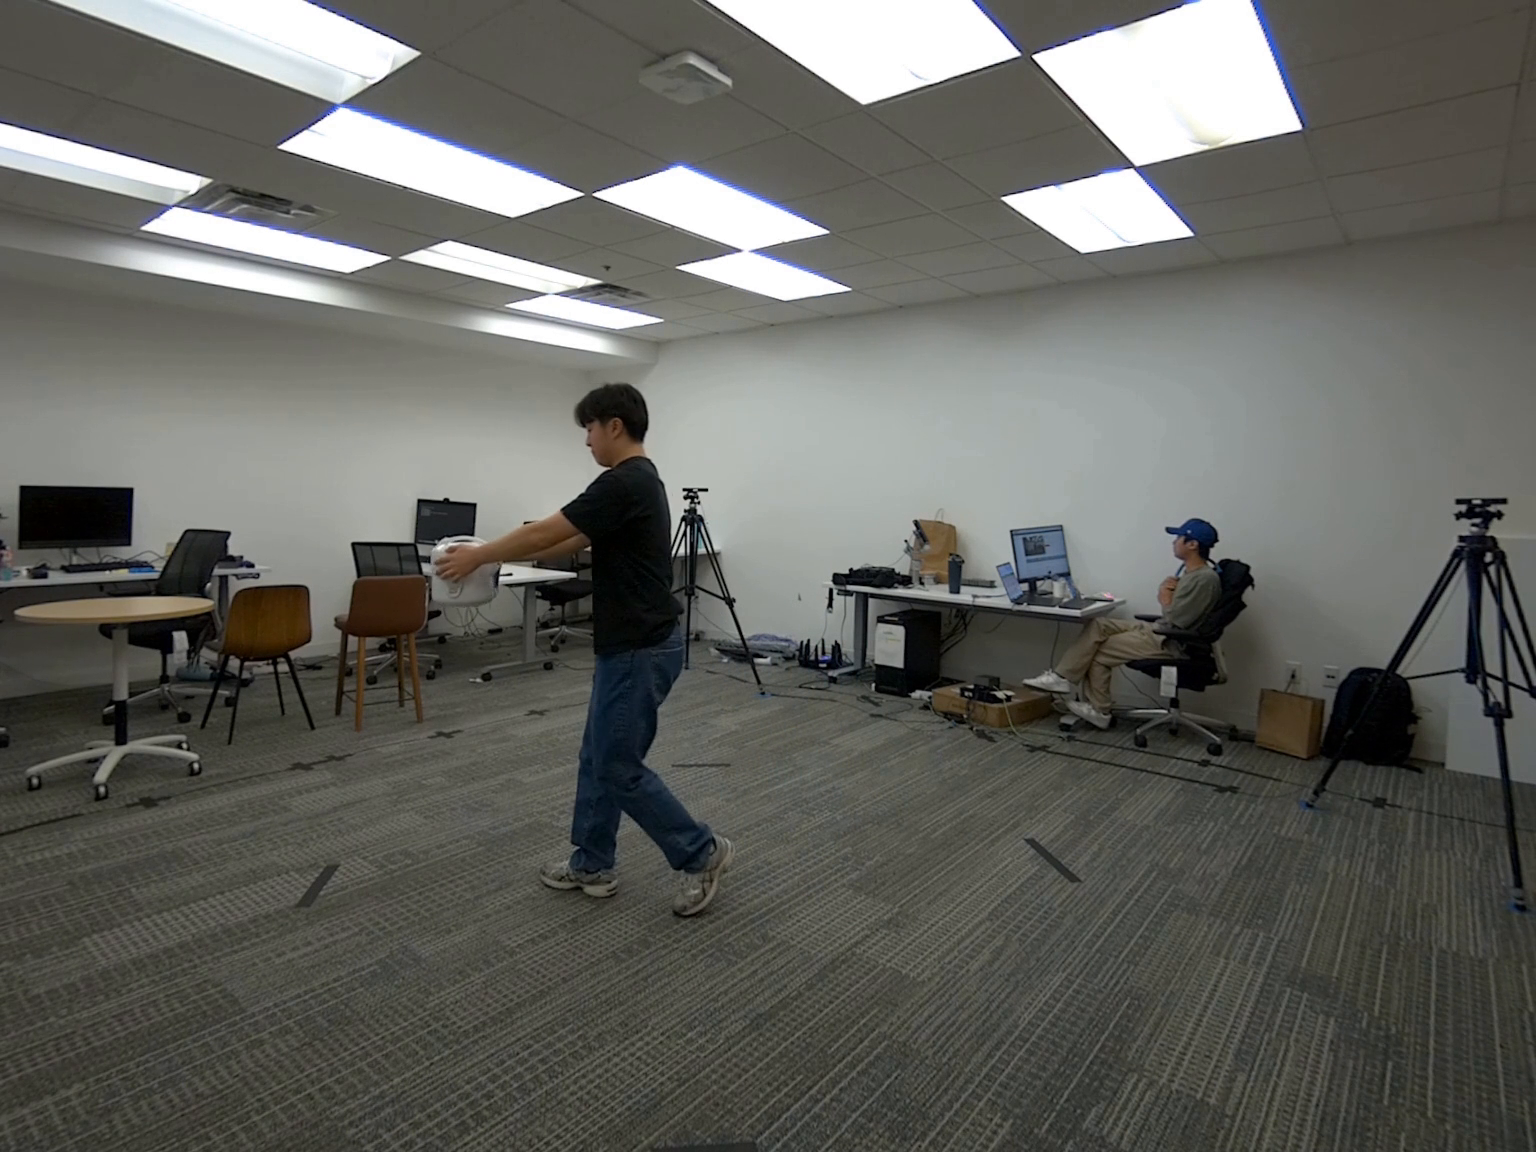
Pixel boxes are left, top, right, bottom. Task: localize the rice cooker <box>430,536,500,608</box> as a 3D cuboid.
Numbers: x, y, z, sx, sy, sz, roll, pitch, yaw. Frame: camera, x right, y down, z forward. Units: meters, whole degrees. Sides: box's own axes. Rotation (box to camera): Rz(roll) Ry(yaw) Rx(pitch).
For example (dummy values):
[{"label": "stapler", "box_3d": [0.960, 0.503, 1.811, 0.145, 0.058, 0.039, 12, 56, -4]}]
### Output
[{"label": "rice cooker", "box_3d": [-1.035, -0.014, 2.877, 0.221, 0.232, 0.218, 0, 4, 0]}]
